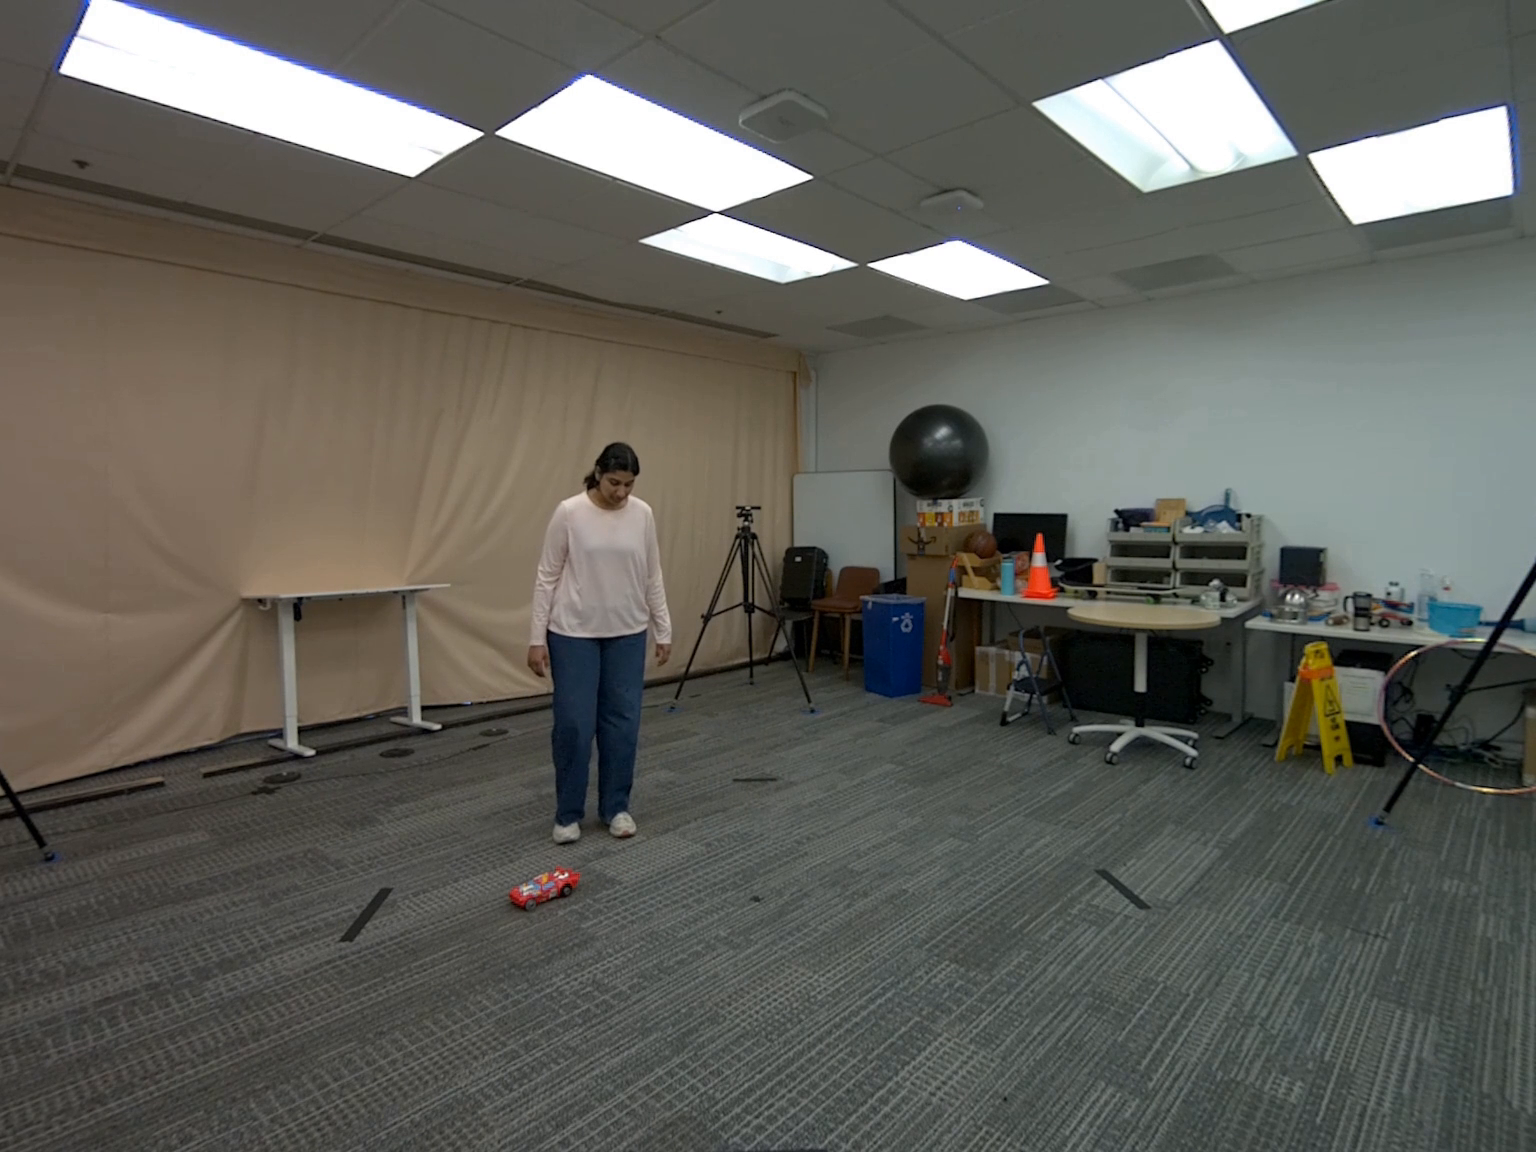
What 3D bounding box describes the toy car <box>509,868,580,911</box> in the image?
[{"bbox_3d":[-0.796,1.113,3.012,0.248,0.082,0.134,-20,15,-41],"label":"toy car"}]
